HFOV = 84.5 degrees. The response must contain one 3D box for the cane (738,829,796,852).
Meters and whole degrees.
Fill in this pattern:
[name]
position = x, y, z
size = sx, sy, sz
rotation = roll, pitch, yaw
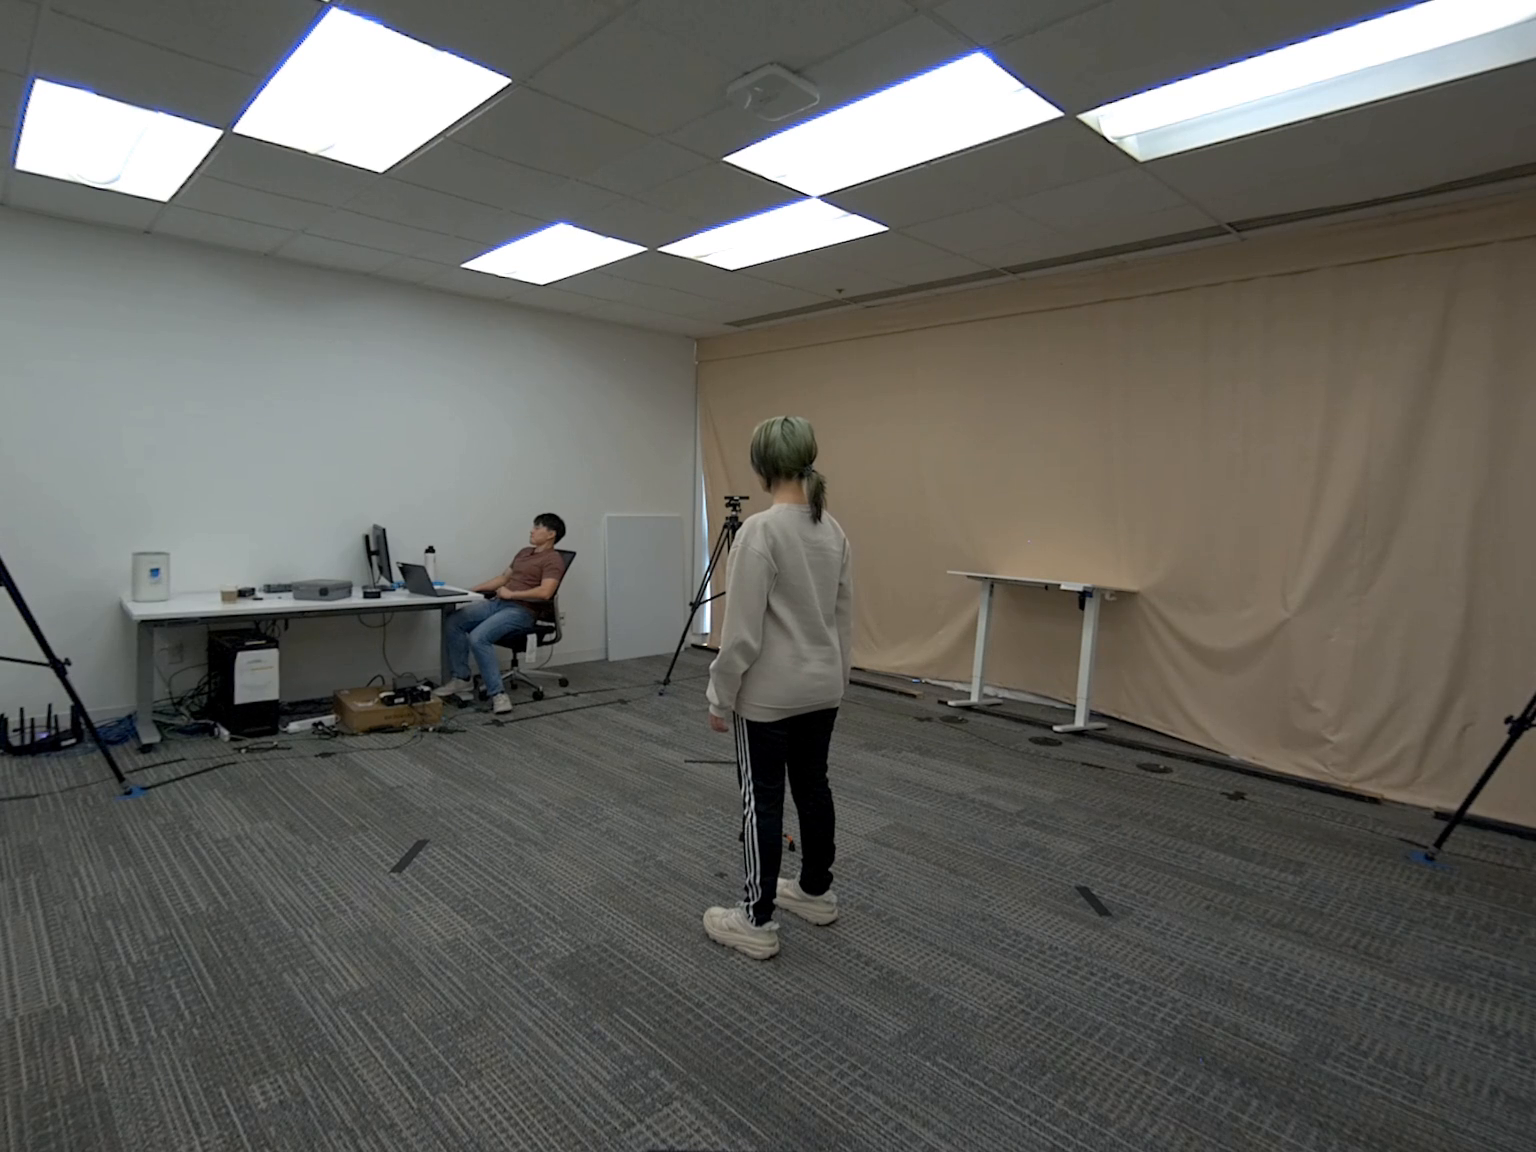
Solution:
[cane]
position = 0.000, 0.630, 3.363
size = 0.148, 0.906, 0.211
rotation = 0, 3, -32
